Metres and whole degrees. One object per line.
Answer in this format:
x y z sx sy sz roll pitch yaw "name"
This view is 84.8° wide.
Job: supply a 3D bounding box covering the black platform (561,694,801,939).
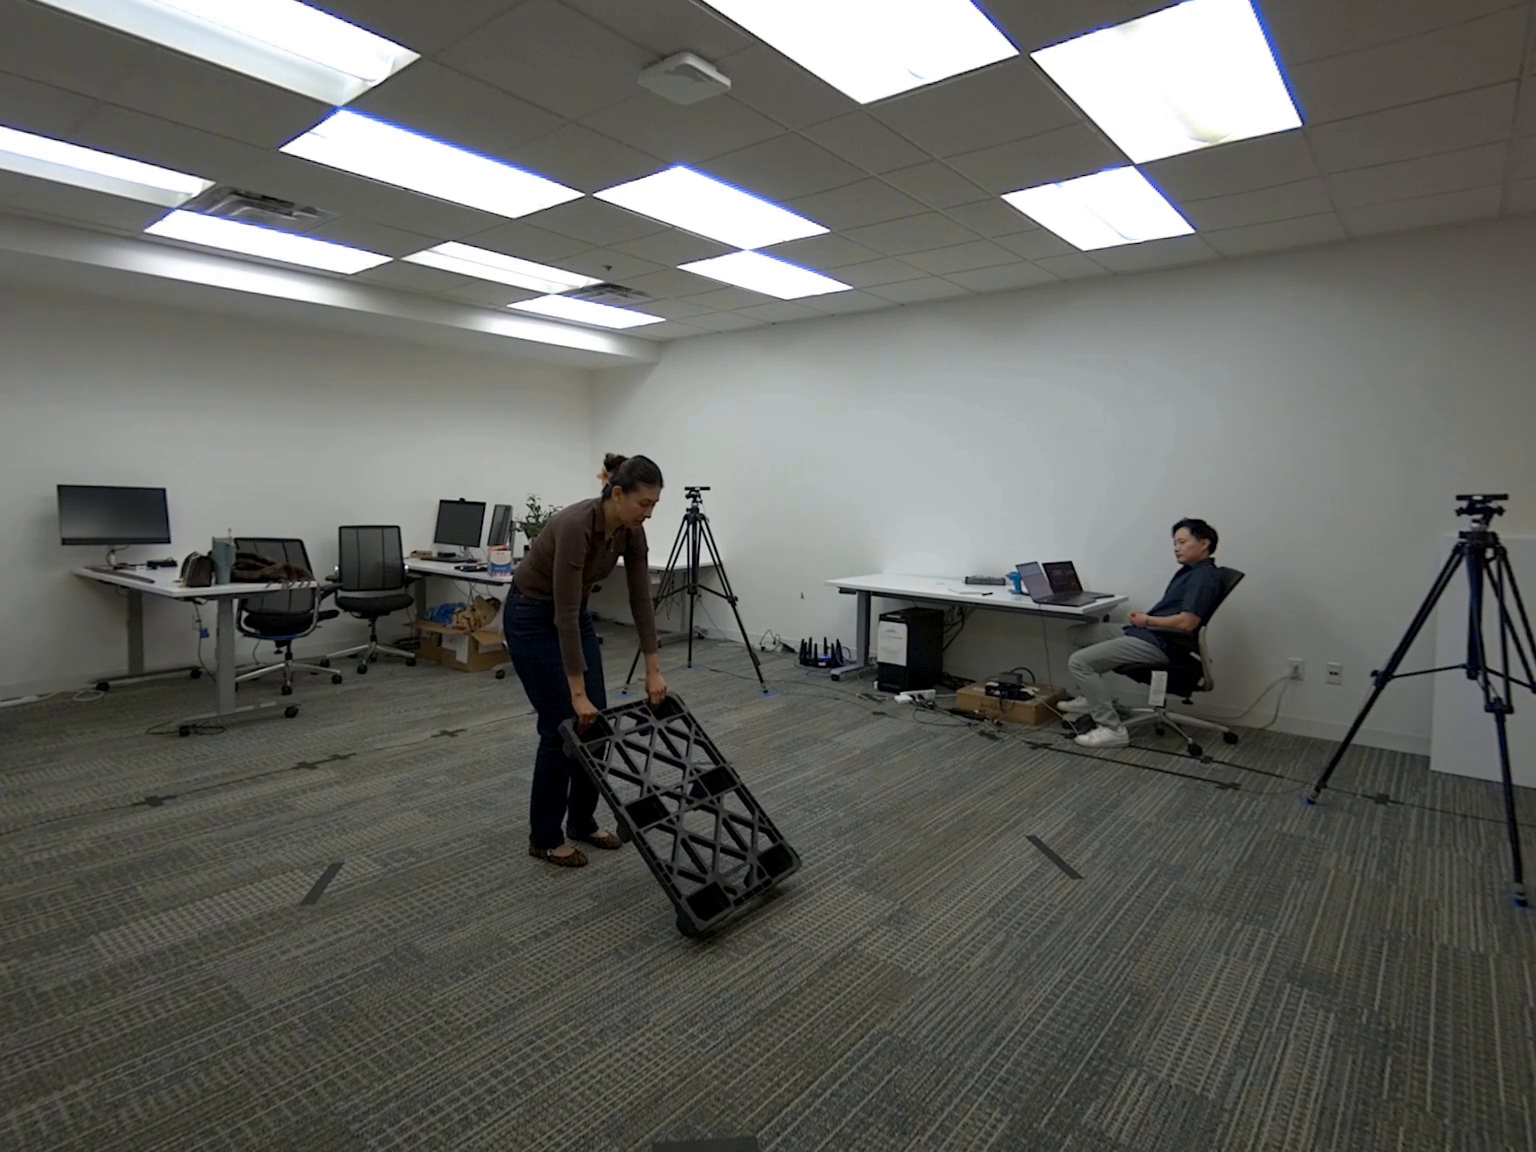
-0.324 0.786 2.938 0.832 0.143 0.588 49 27 23 "black platform"
